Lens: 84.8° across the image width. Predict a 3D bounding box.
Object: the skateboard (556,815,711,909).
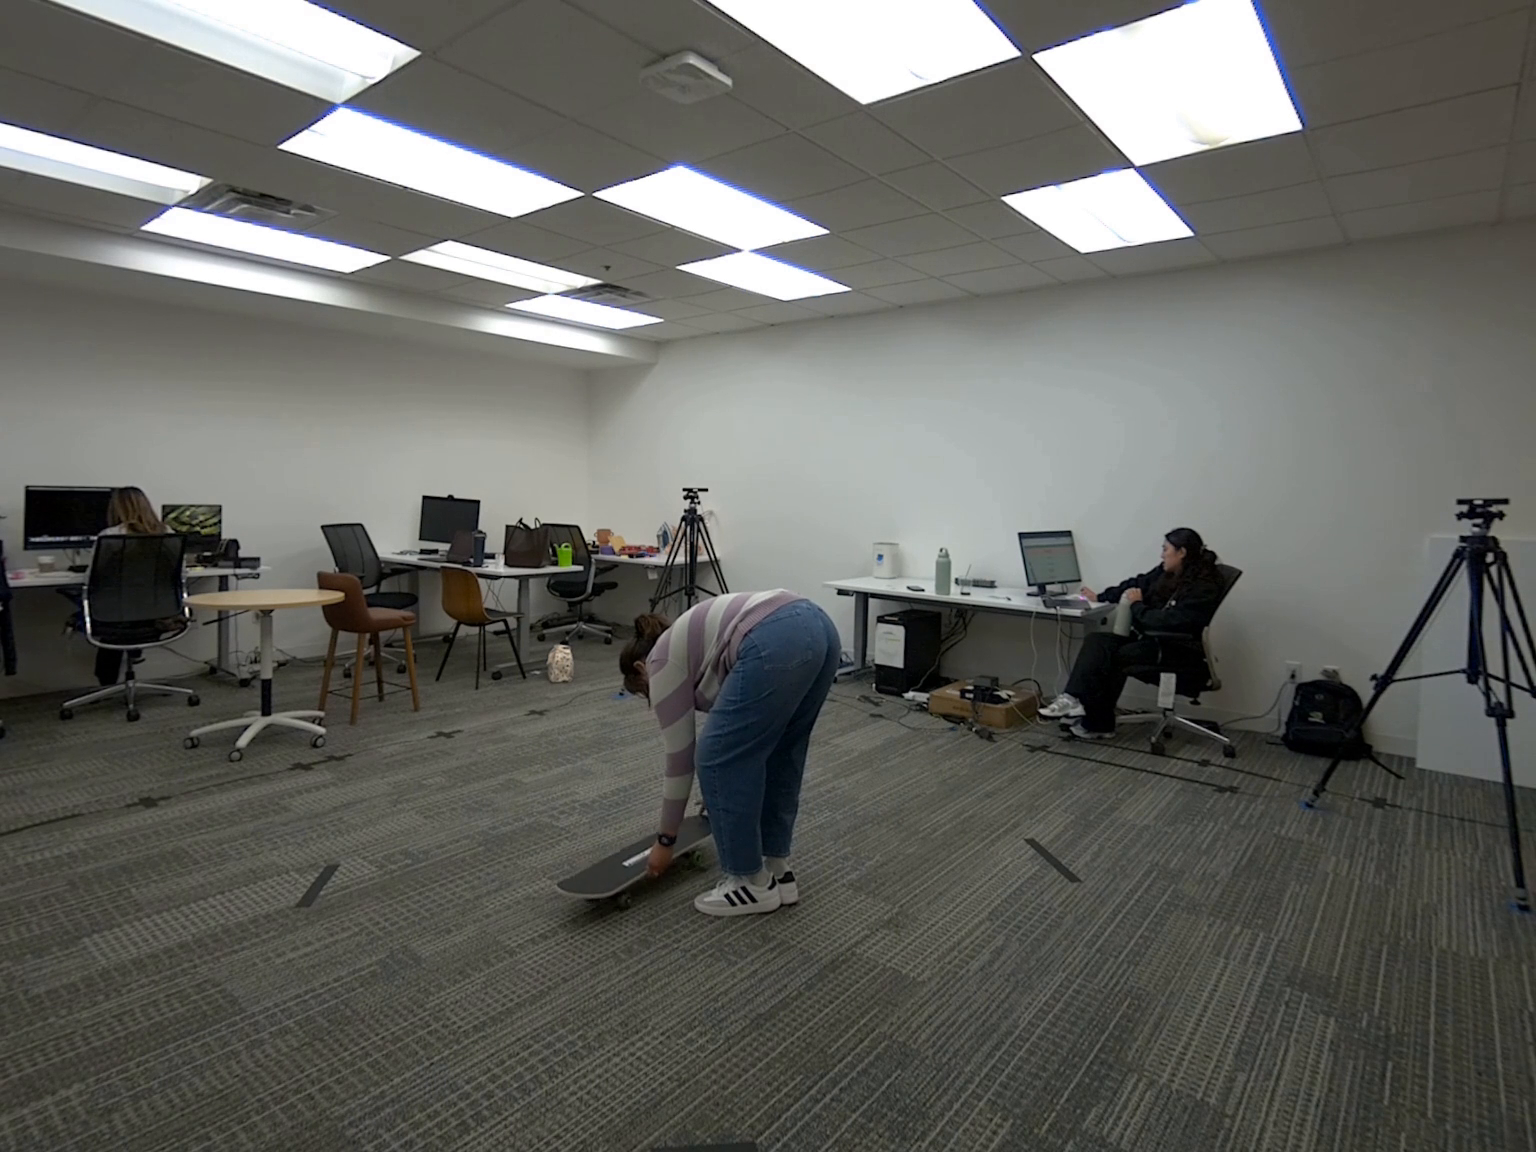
[{"bbox_3d":[-0.444,1.012,3.004,0.199,0.110,0.765,-1,4,32],"label":"skateboard"}]
